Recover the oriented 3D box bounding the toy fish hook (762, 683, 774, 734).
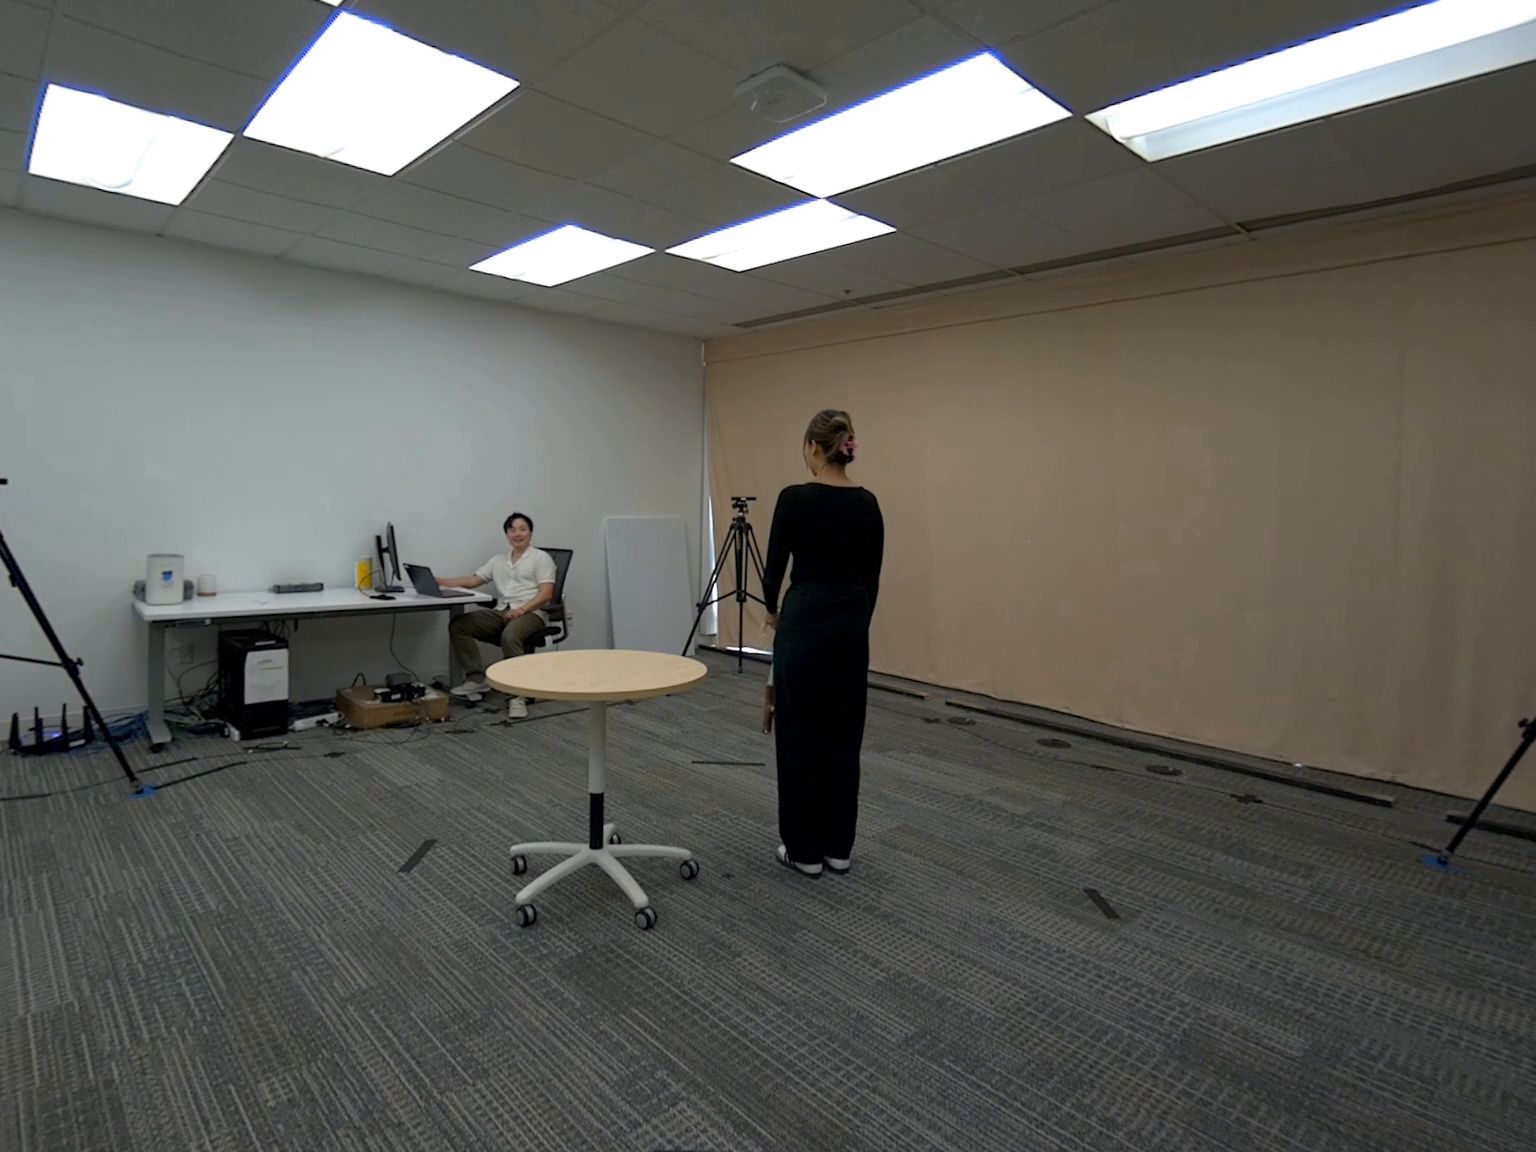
[{"bbox_3d":[0.008,0.385,3.437,0.047,0.506,0.229,6,1,-23],"label":"toy fish hook"}]
